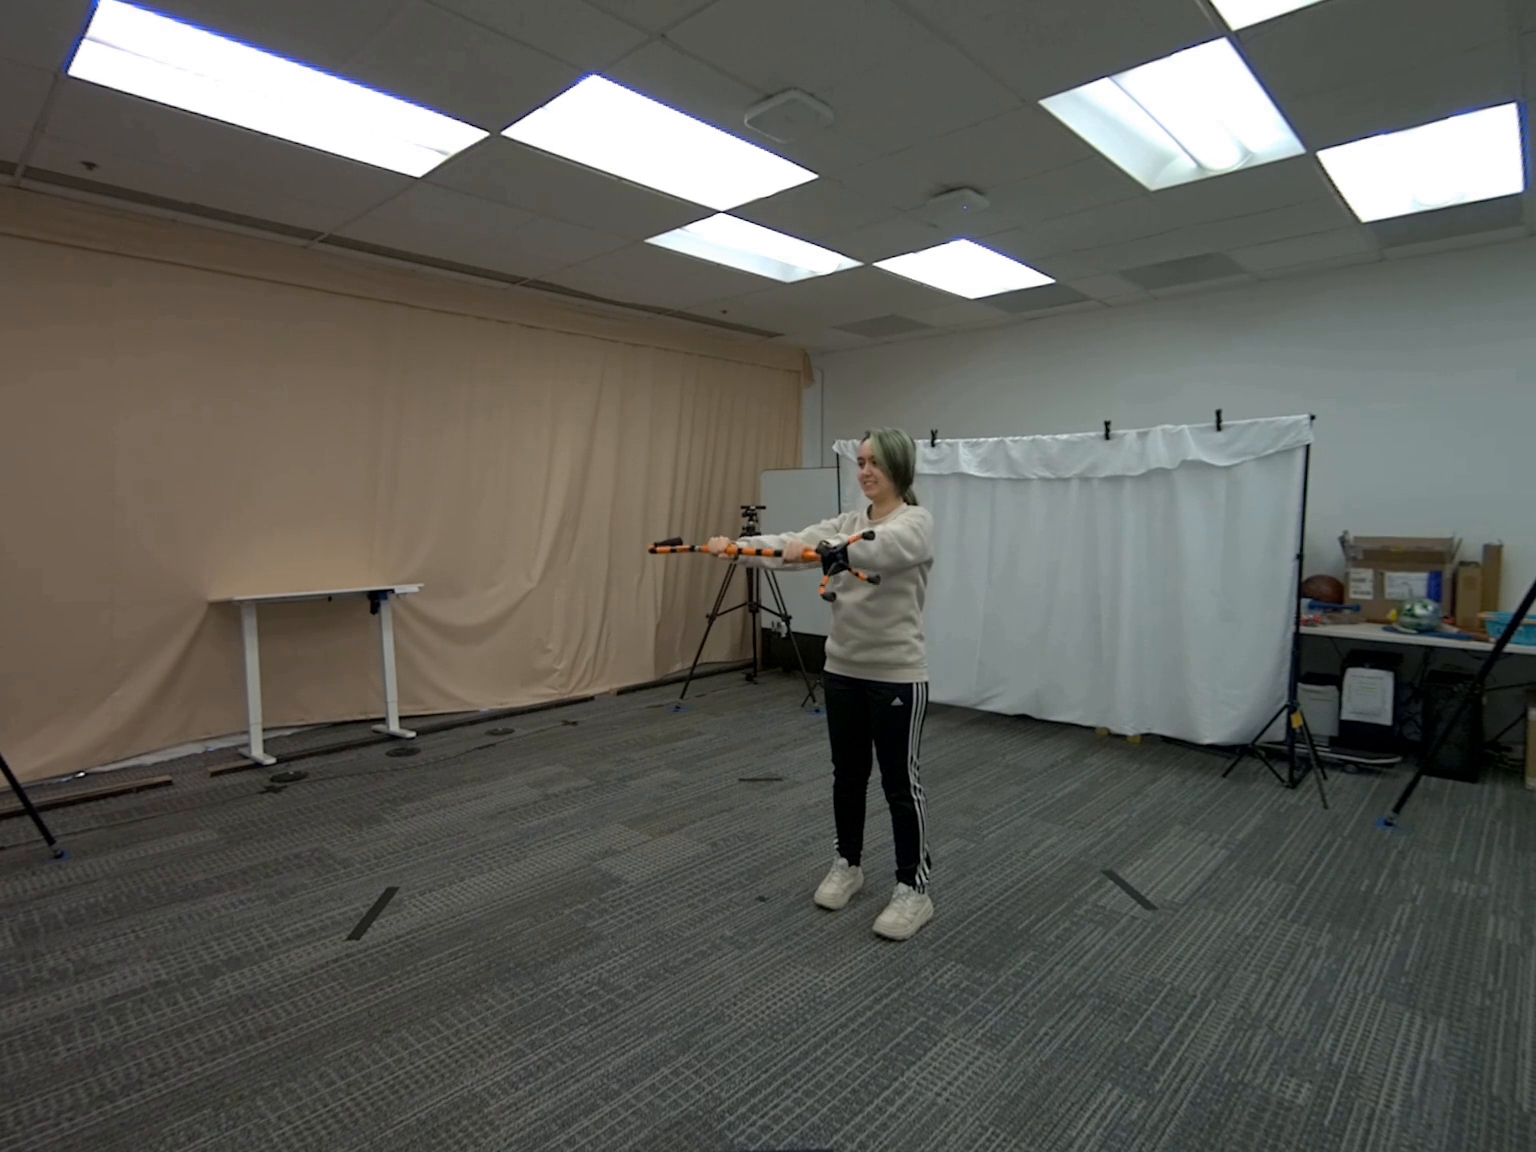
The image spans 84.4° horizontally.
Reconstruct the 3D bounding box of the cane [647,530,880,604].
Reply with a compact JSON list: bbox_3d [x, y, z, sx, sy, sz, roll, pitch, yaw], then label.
[{"bbox_3d":[-0.086,-0.064,2.553,0.201,0.150,0.938,-18,15,-38],"label":"cane"}]
